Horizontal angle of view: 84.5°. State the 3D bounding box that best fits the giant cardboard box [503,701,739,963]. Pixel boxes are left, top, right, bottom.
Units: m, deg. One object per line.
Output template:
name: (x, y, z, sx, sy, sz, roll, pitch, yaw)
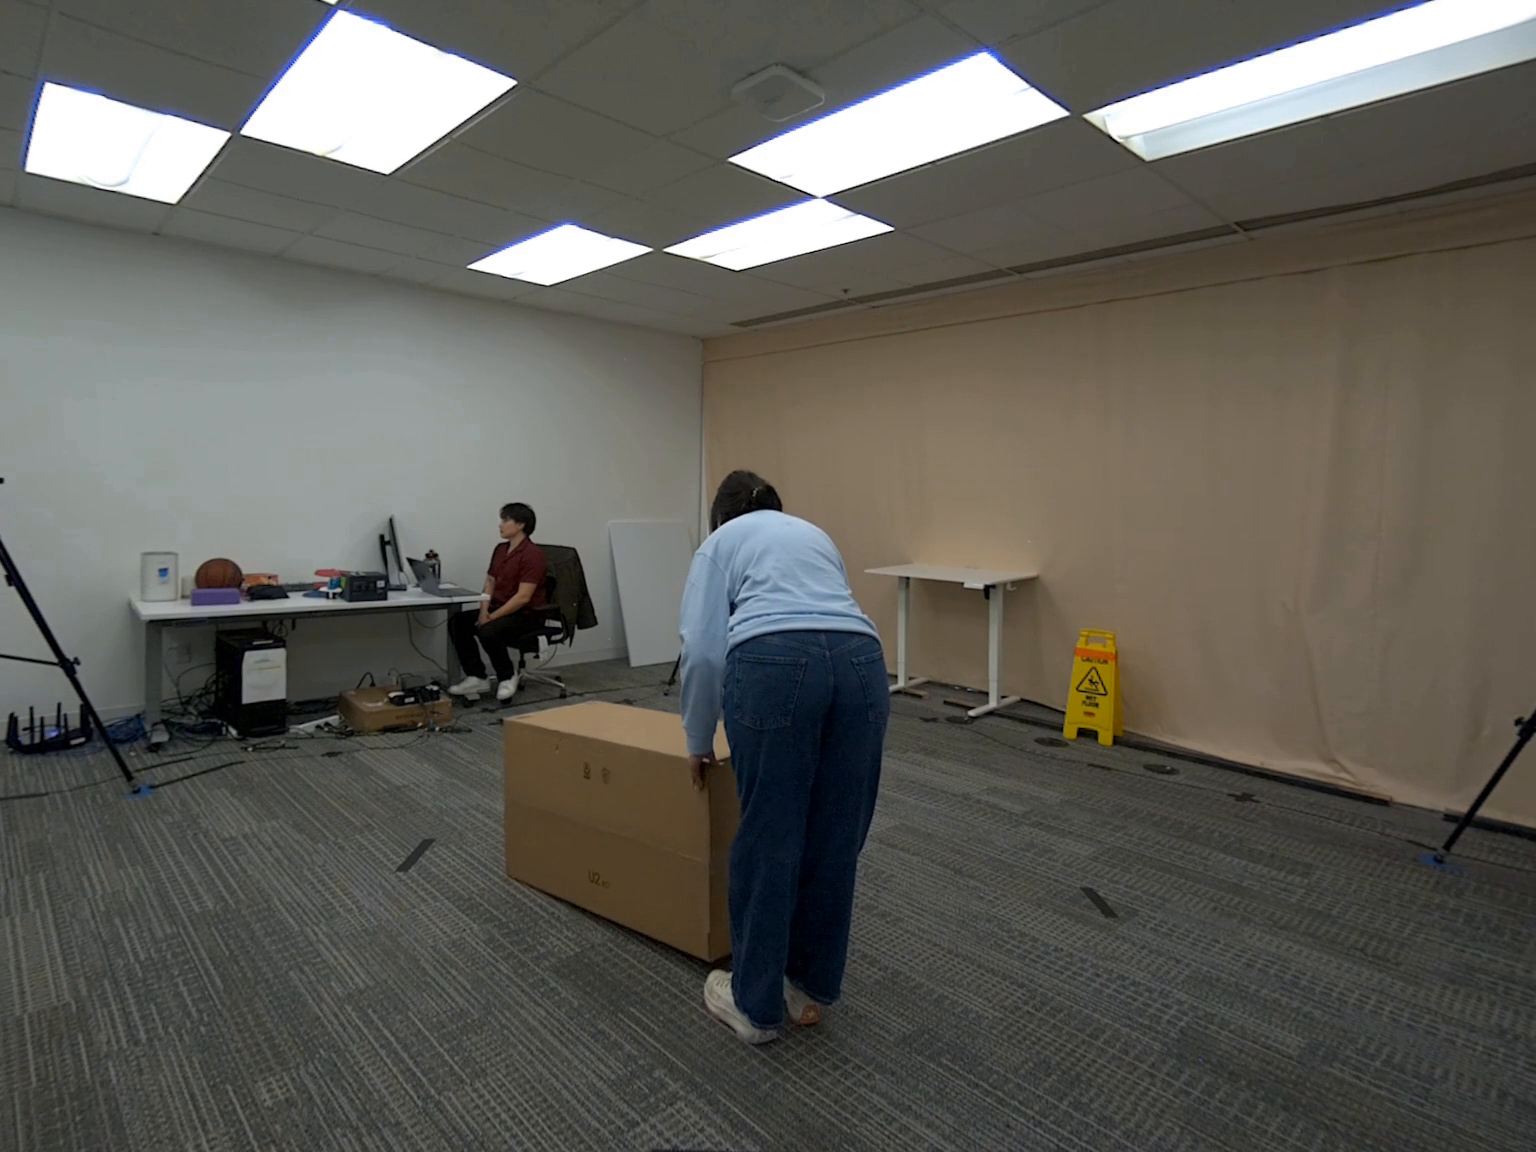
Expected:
giant cardboard box: (-0.434, 0.801, 2.881, 1.051, 0.583, 0.437, 1, 3, 41)
